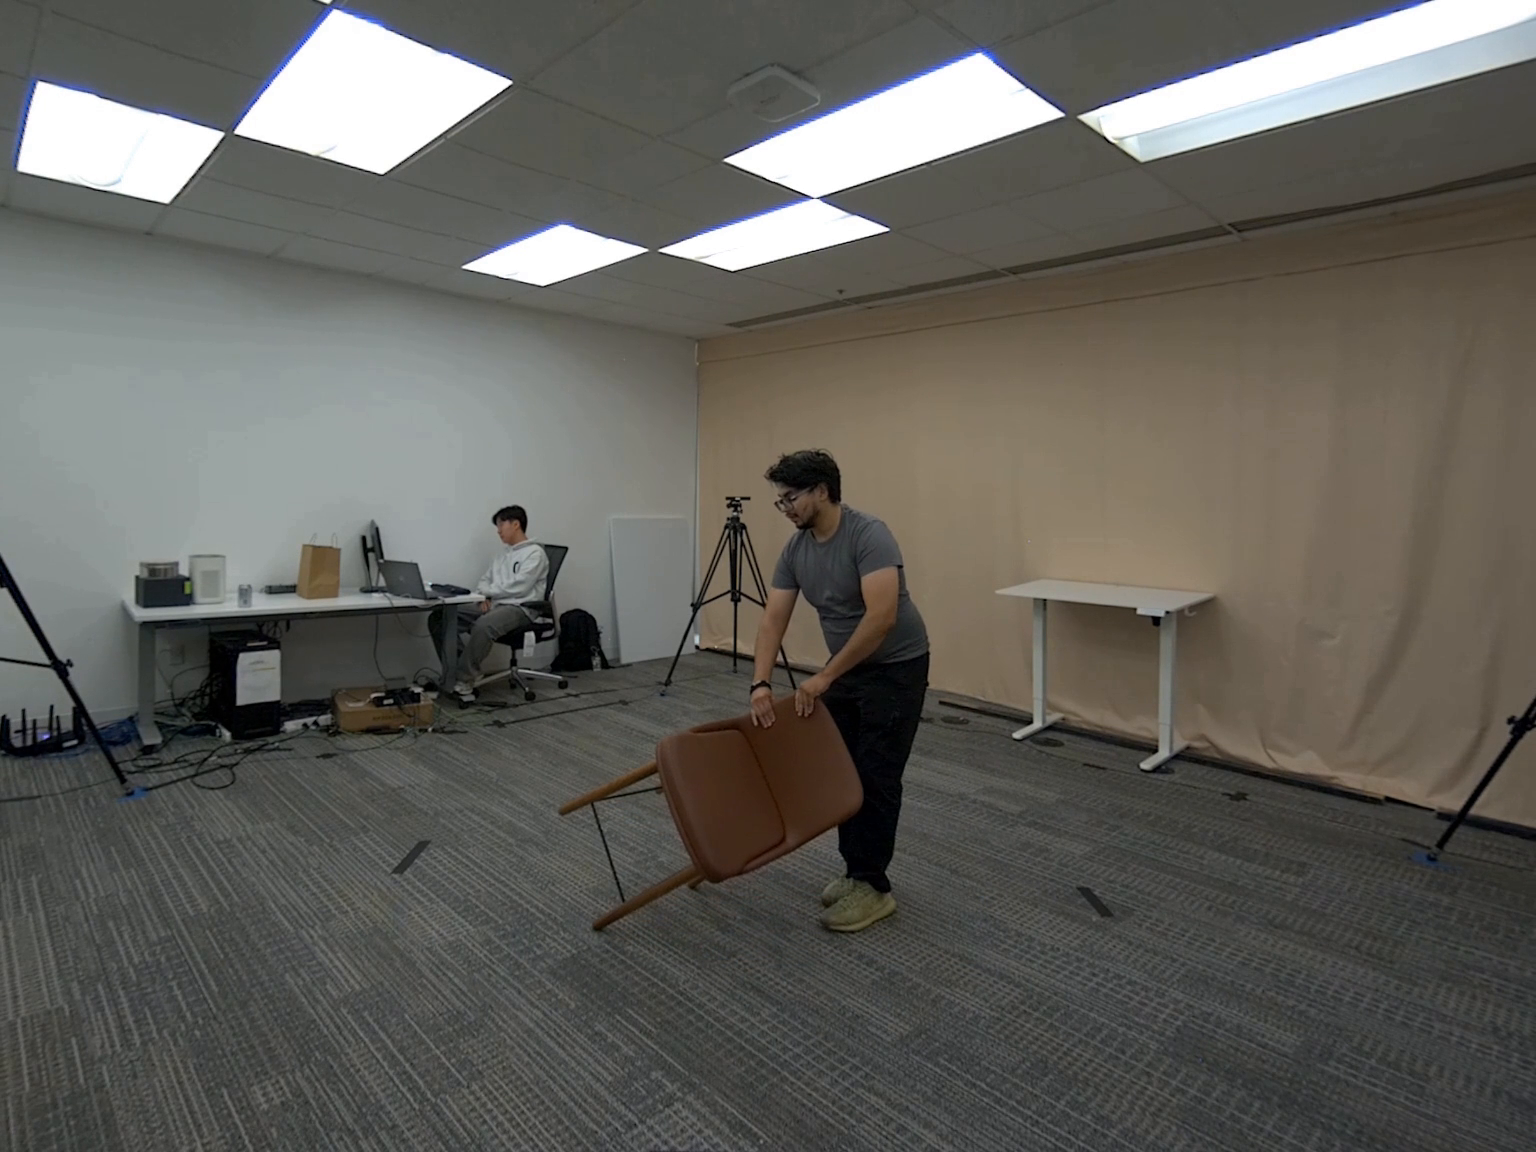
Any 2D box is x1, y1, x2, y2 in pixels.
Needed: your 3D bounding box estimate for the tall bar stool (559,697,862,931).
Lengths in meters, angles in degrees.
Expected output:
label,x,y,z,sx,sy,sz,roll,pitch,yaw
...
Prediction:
label,x,y,z,sx,sy,sz,roll,pitch,yaw
tall bar stool,-0.205,0.741,2.672,0.456,0.466,0.894,3,-32,-48
